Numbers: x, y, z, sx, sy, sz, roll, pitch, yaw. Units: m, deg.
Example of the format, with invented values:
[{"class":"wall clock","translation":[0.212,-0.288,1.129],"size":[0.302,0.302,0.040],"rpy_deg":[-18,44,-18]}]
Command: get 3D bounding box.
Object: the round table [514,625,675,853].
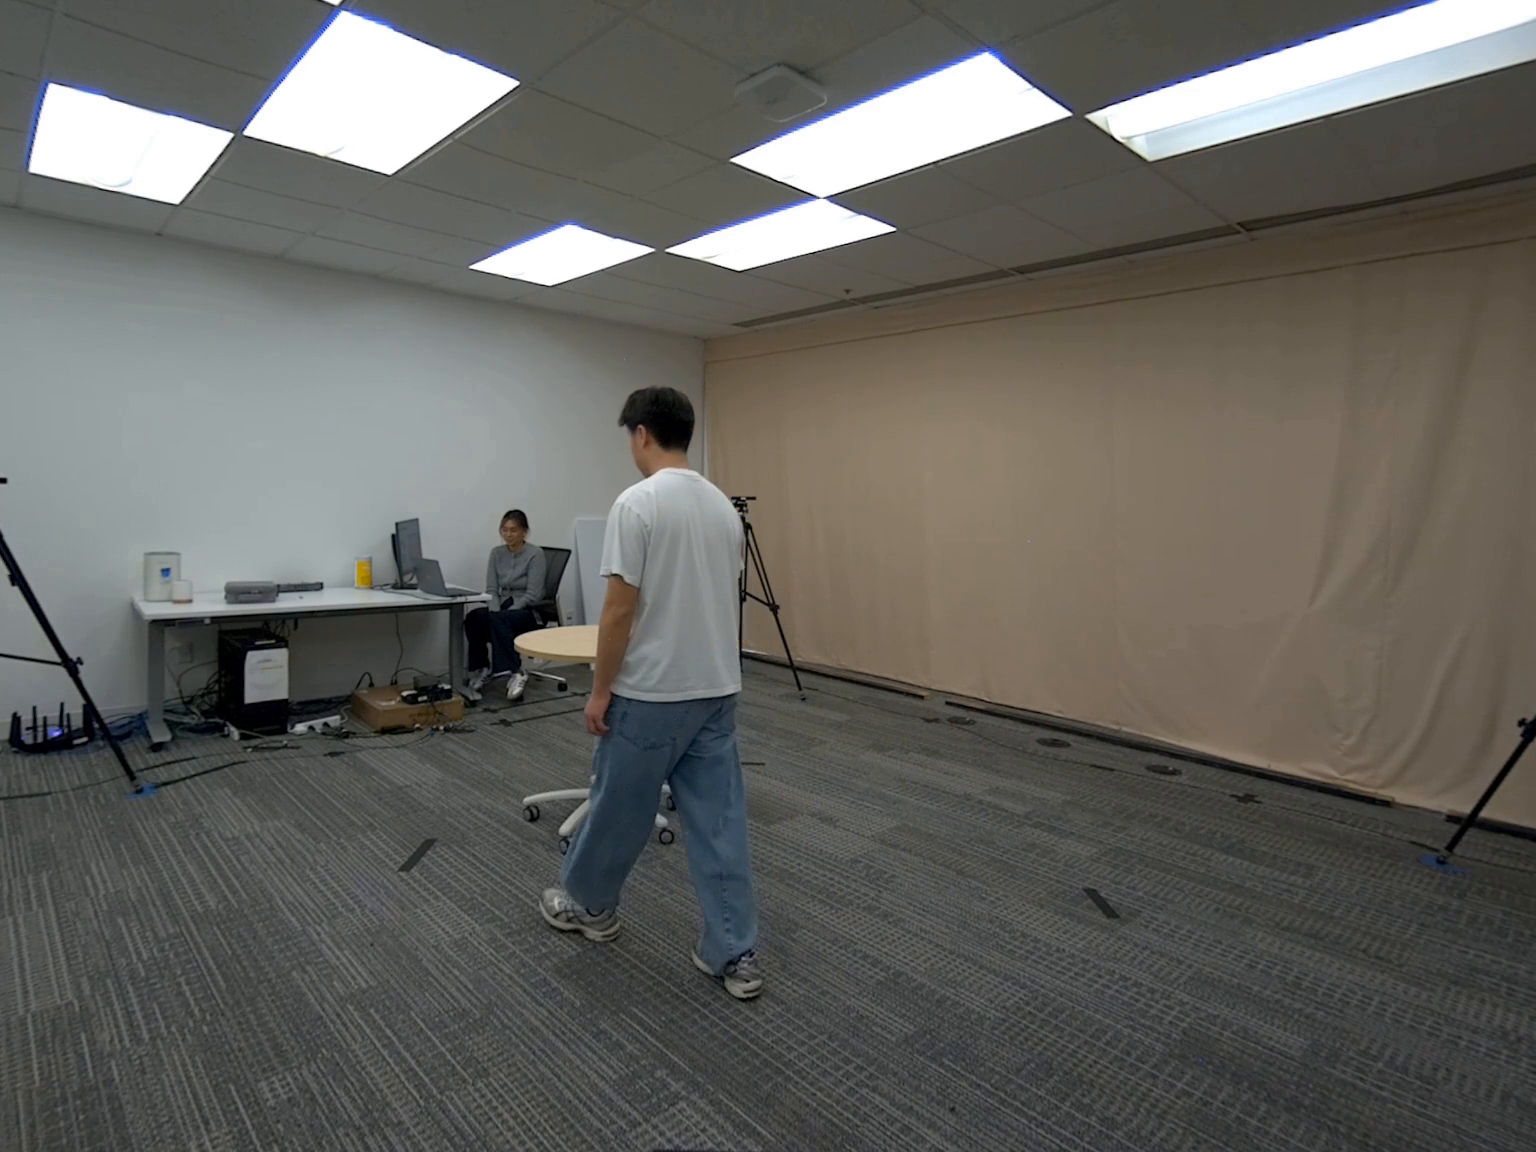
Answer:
[{"class":"round table","translation":[-0.695,0.665,3.568],"size":[0.763,0.792,0.766],"rpy_deg":[1,4,-1]}]
